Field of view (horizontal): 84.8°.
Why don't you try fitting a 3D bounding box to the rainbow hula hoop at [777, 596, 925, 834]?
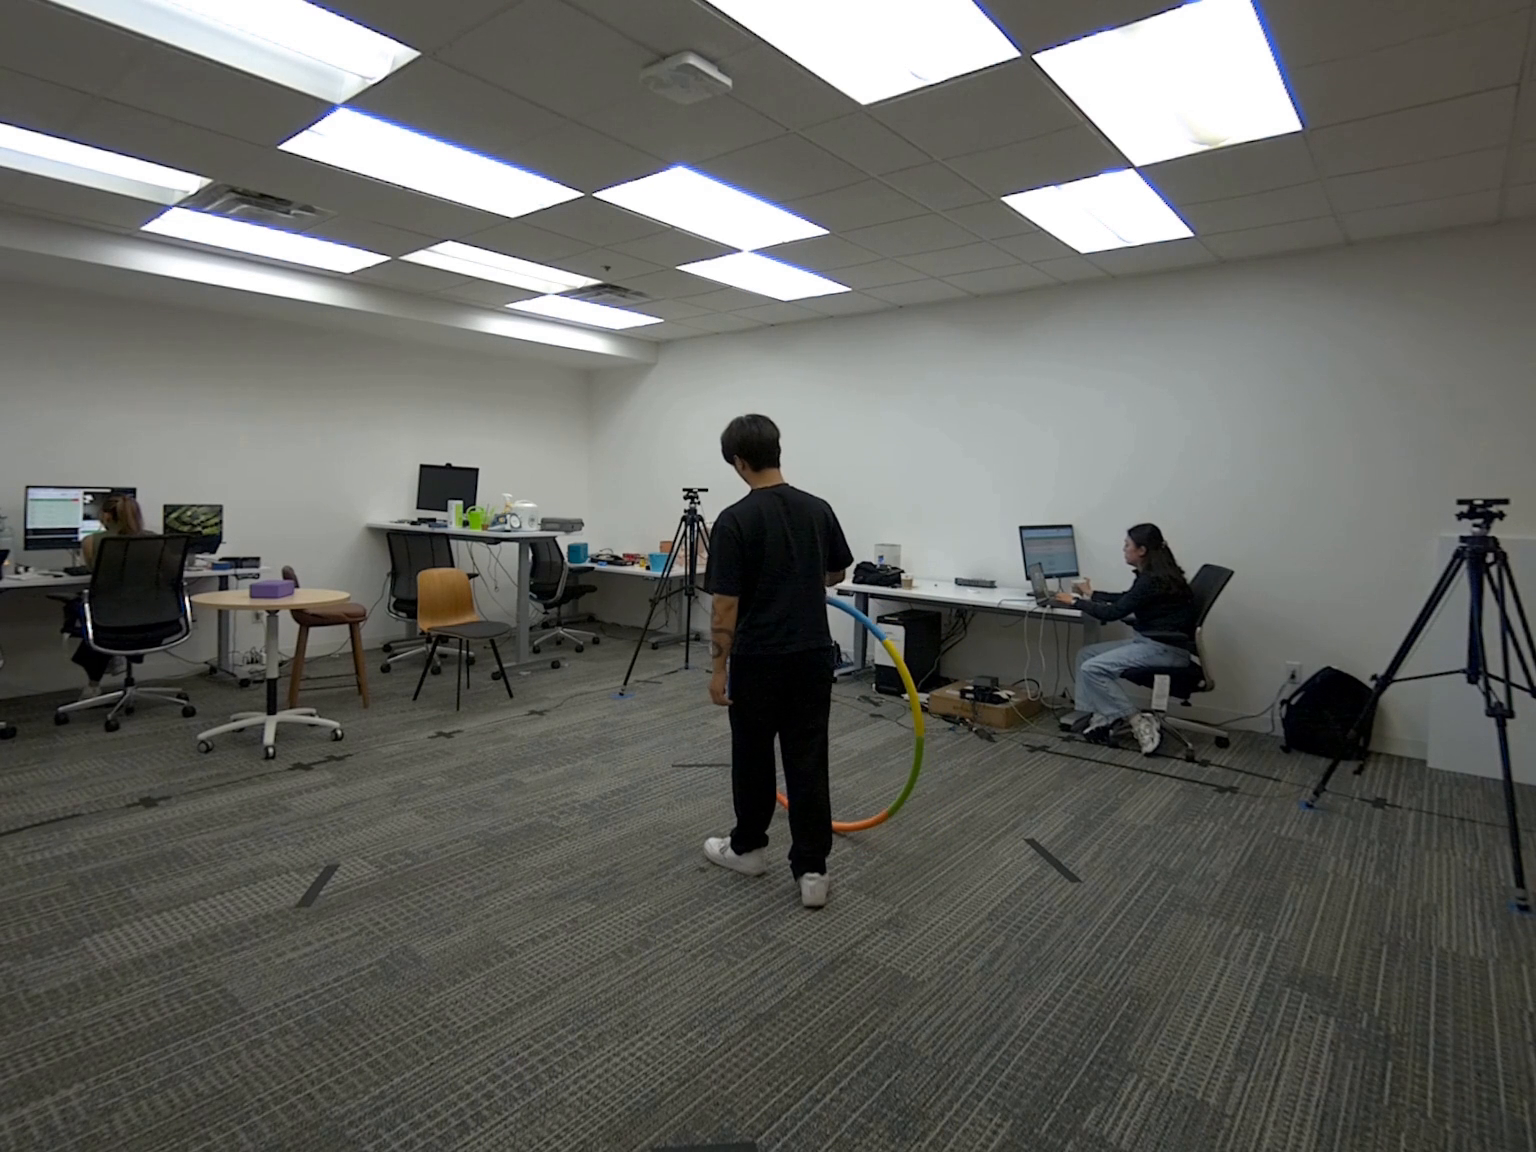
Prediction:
[{"bbox_3d":[0.175,0.550,3.471,1.012,0.971,0.034,4,10,41],"label":"rainbow hula hoop"}]
